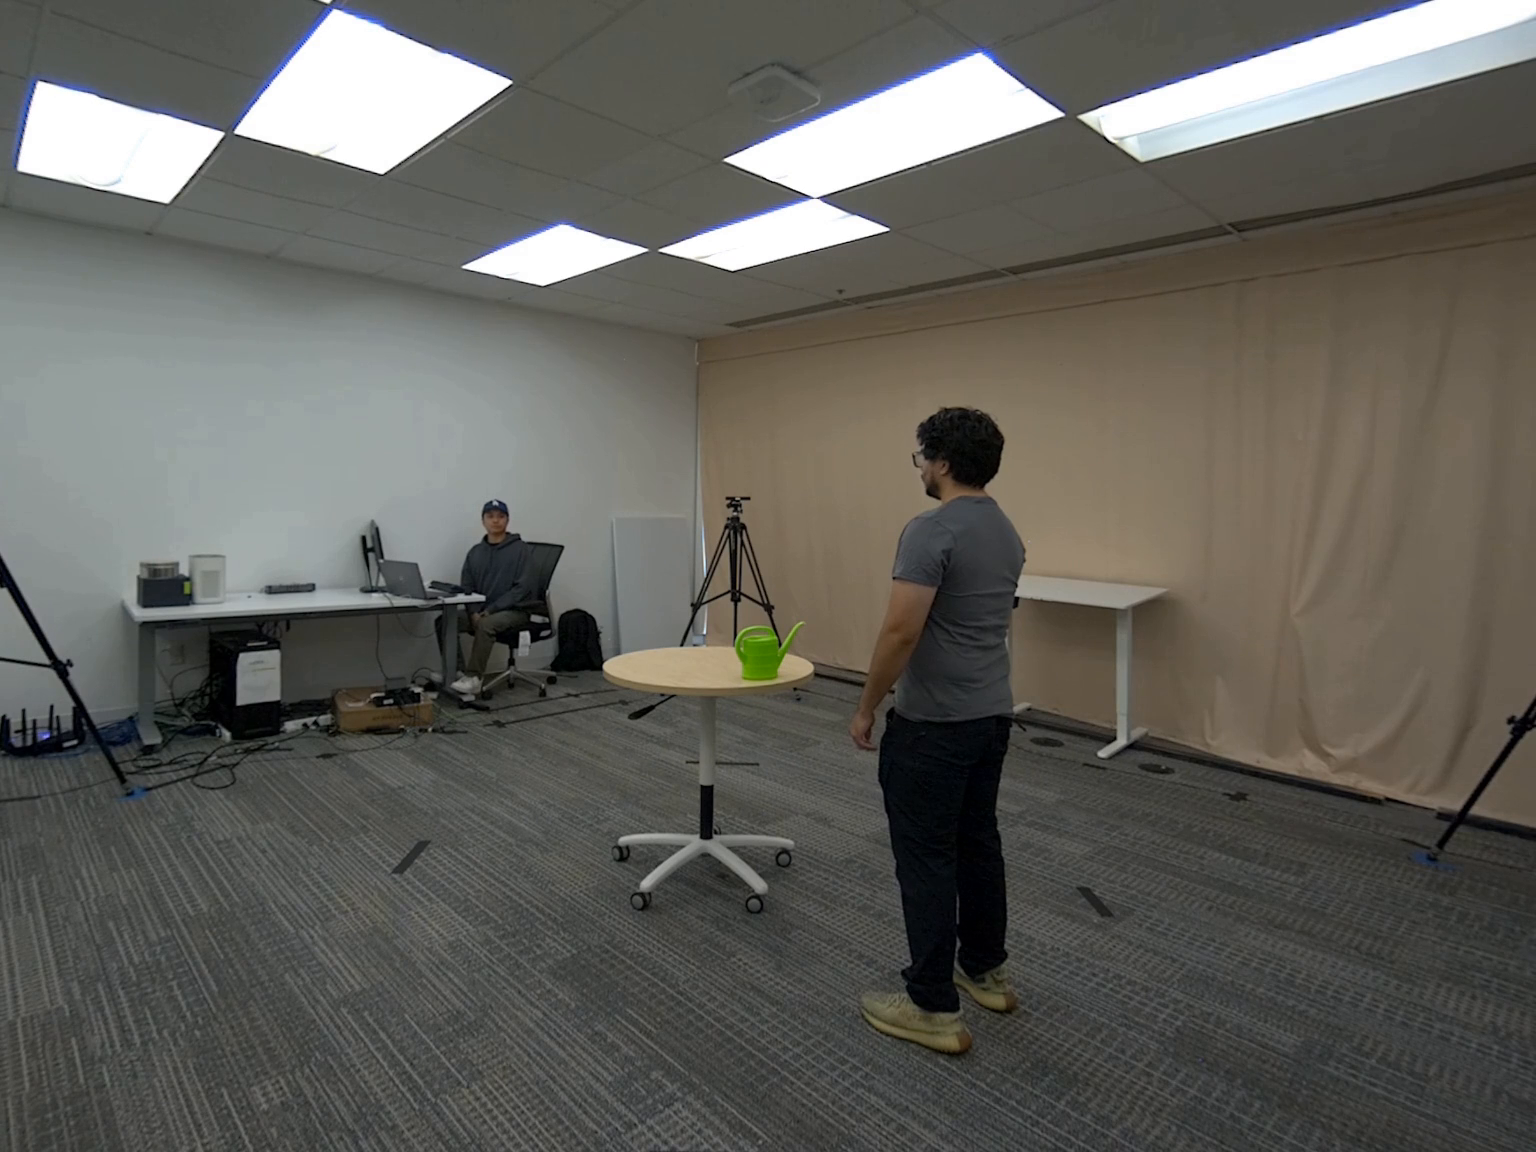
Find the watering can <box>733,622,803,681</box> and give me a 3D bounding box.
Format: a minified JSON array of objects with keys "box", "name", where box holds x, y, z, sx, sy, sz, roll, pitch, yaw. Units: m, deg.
[{"box":[0.008,0.258,2.871,0.275,0.176,0.099,-2,4,-15],"name":"watering can"}]
